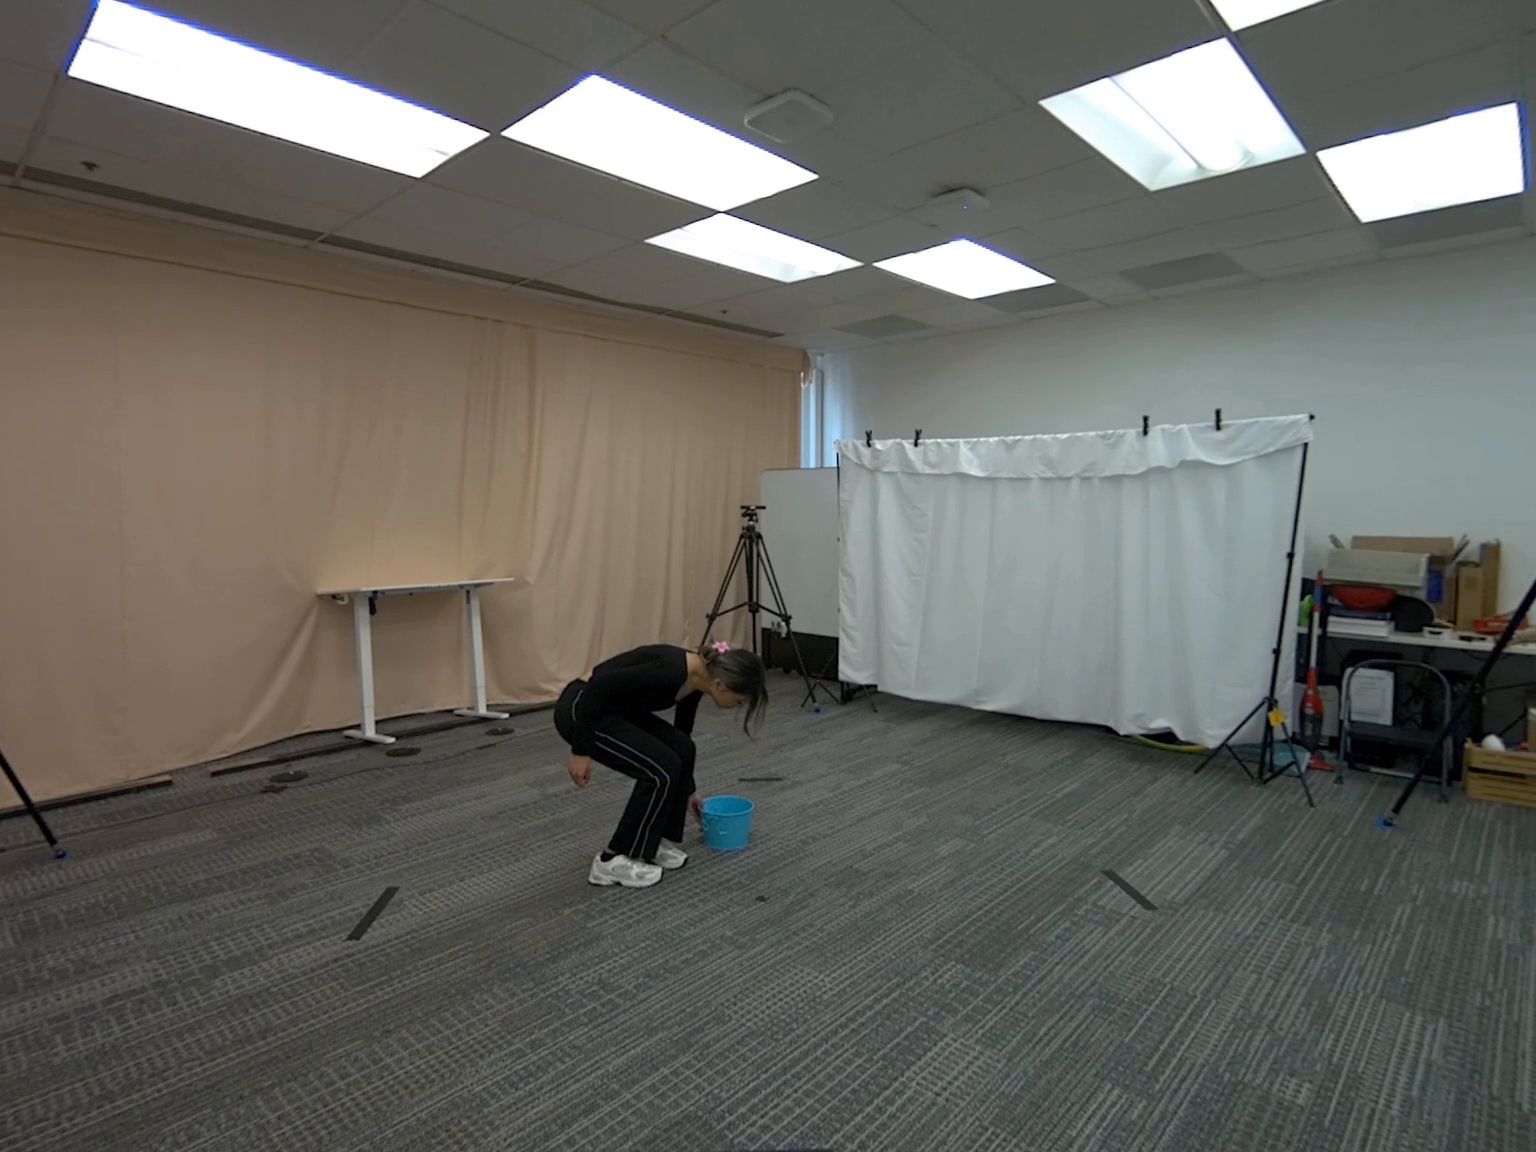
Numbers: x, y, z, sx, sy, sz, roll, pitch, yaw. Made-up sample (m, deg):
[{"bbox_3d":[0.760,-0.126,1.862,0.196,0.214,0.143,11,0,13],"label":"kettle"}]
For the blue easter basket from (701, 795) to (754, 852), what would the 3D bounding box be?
[{"bbox_3d":[-0.177,1.022,3.496,0.243,0.155,0.244,-1,5,-2],"label":"blue easter basket"}]
